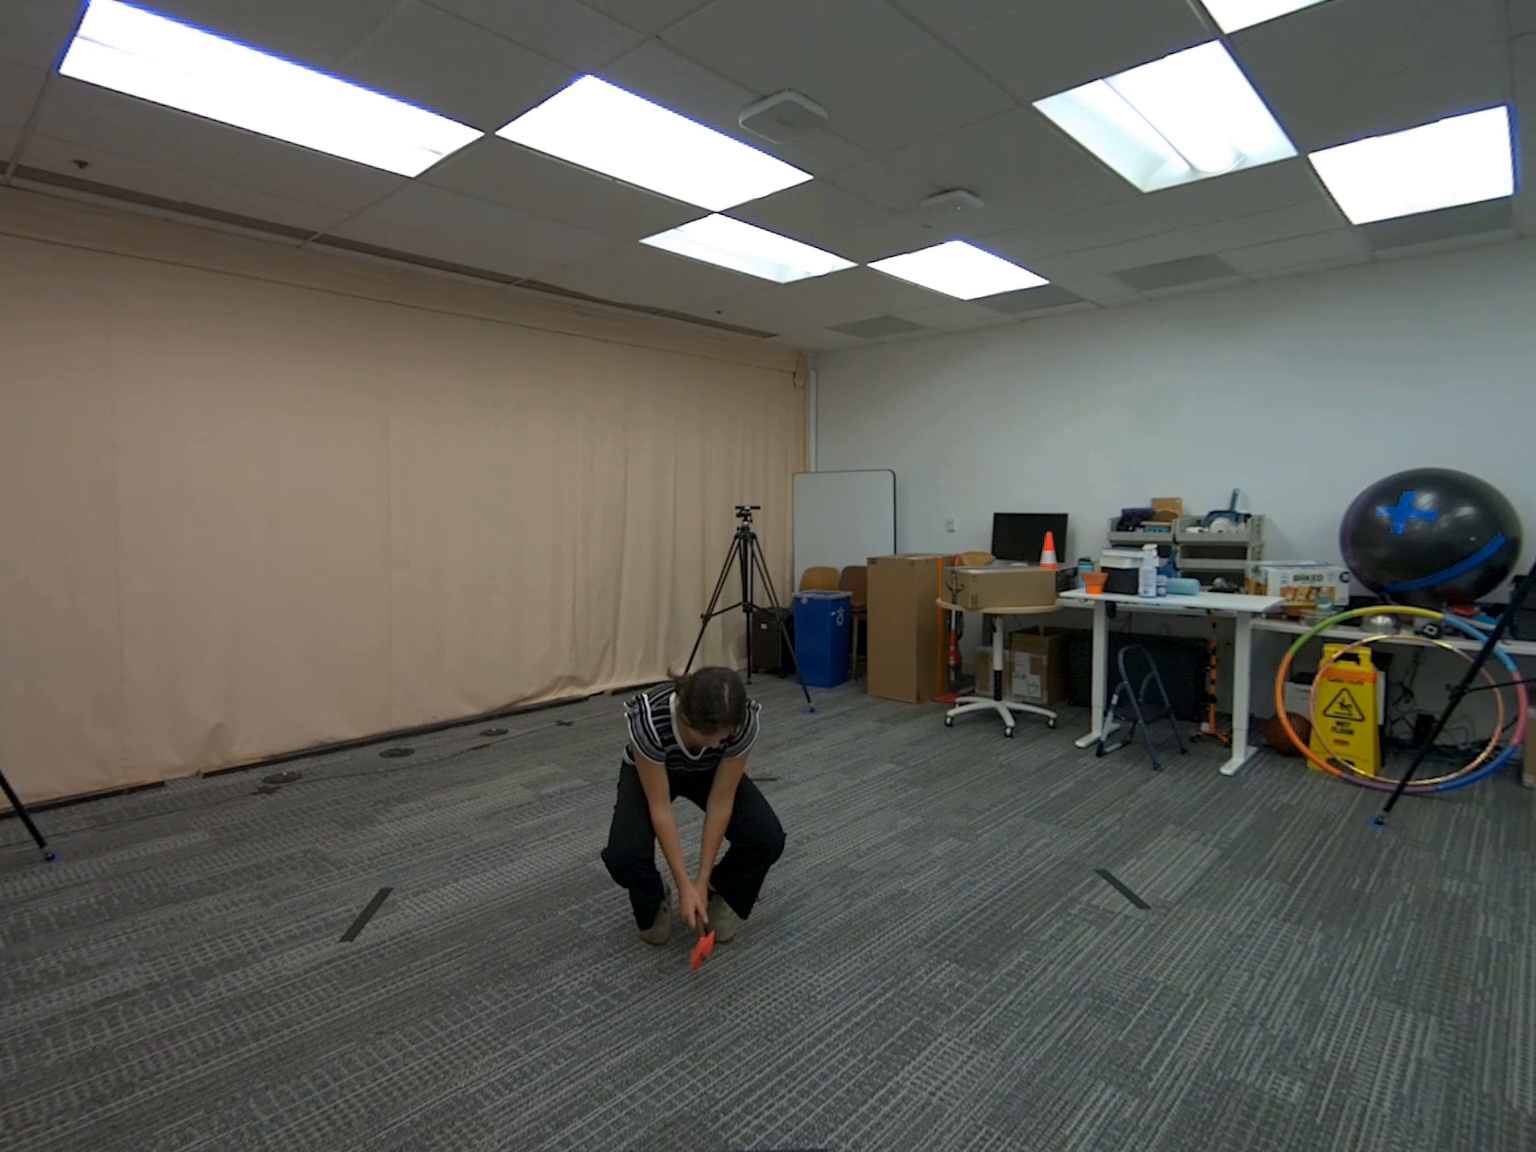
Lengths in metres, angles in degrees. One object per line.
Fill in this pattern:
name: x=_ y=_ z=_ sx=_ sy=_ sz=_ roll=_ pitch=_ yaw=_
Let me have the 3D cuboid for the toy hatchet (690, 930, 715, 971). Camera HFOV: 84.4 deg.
toy hatchet: x=-0.209 y=1.051 z=2.478 sx=0.029 sy=0.131 sz=0.271 roll=21 pitch=-4 yaw=-7
